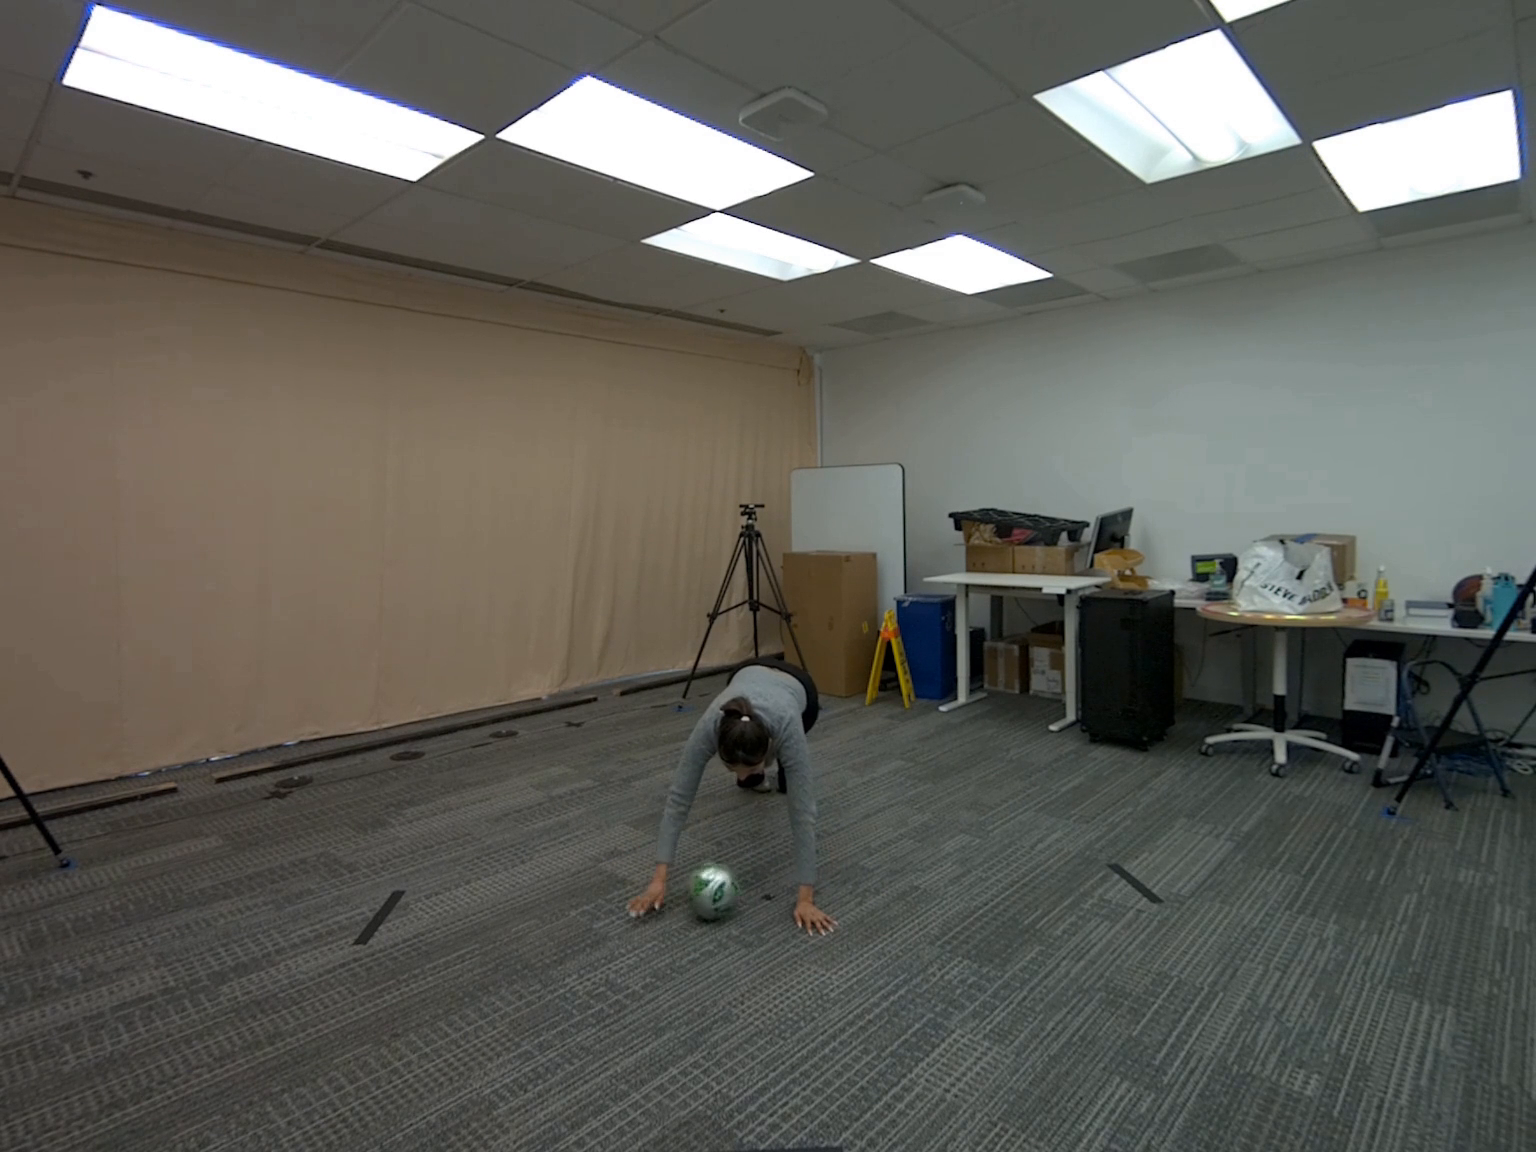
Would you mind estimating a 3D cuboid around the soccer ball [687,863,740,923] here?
[{"bbox_3d":[-0.191,1.056,2.845,0.187,0.187,0.188,-1,4,-2],"label":"soccer ball"}]
